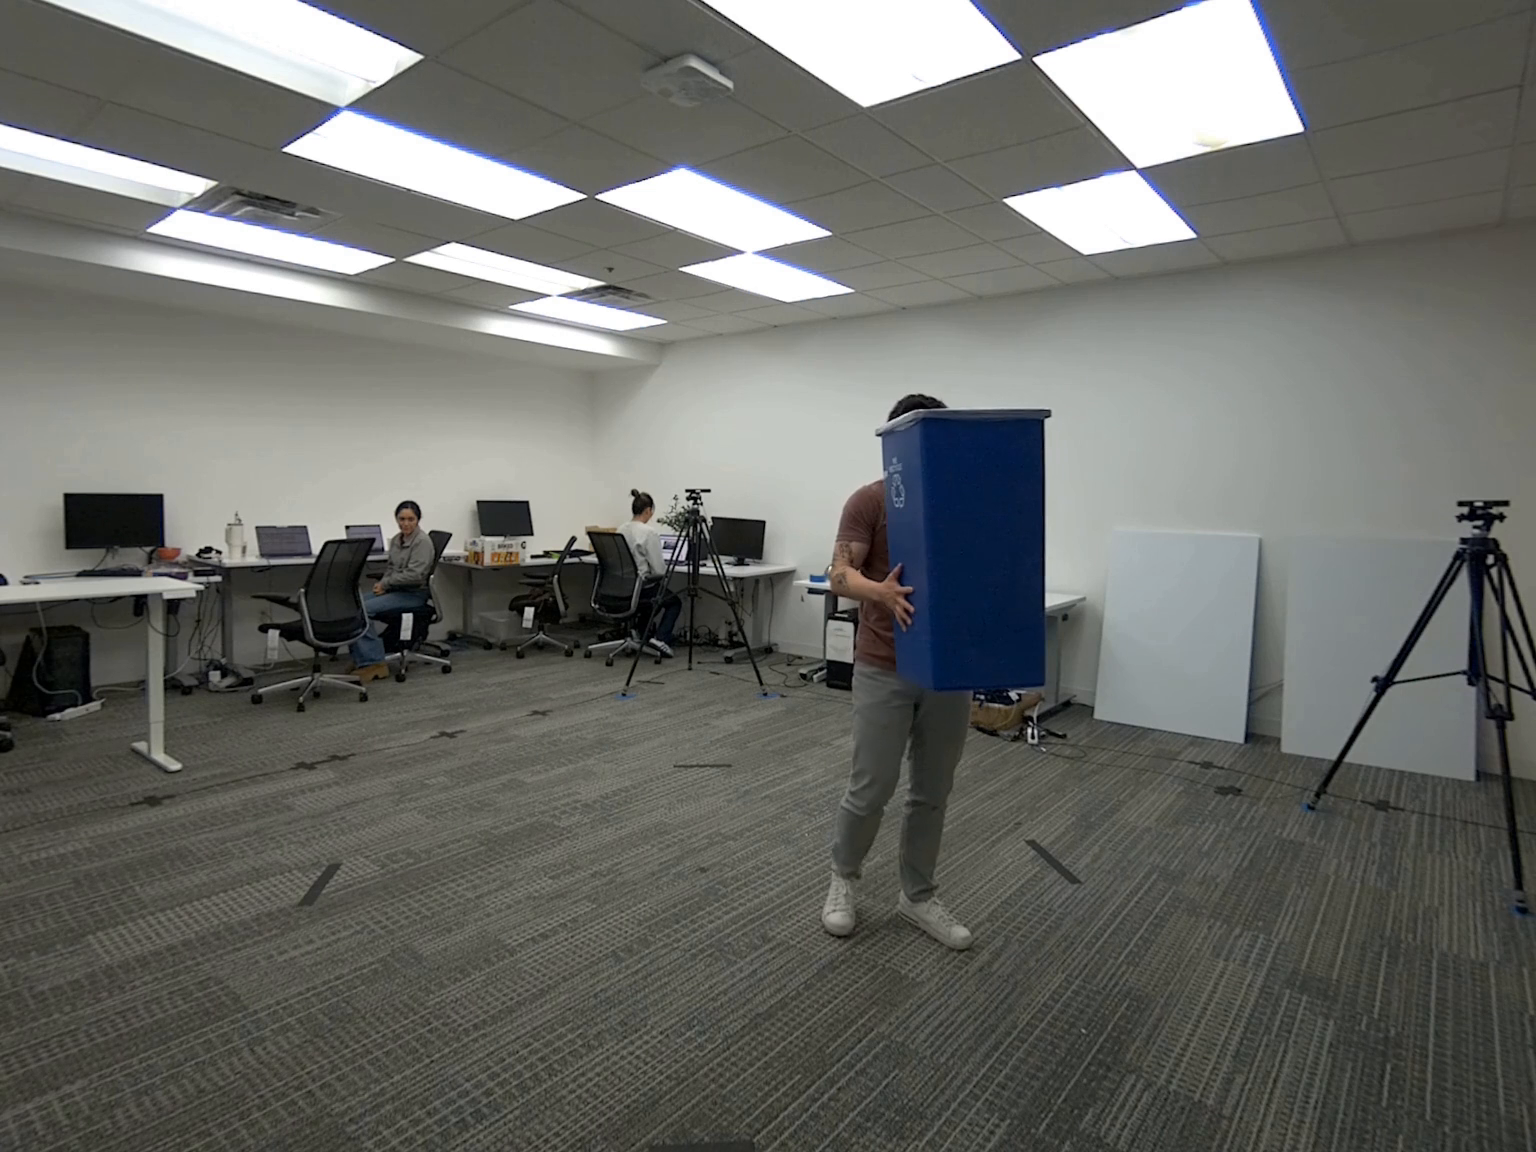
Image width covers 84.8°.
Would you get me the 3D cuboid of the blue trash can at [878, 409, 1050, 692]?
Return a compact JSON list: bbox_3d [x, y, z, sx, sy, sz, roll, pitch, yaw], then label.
[{"bbox_3d":[0.527,-0.080,2.305,0.375,0.715,0.376,-2,-2,-8],"label":"blue trash can"}]
